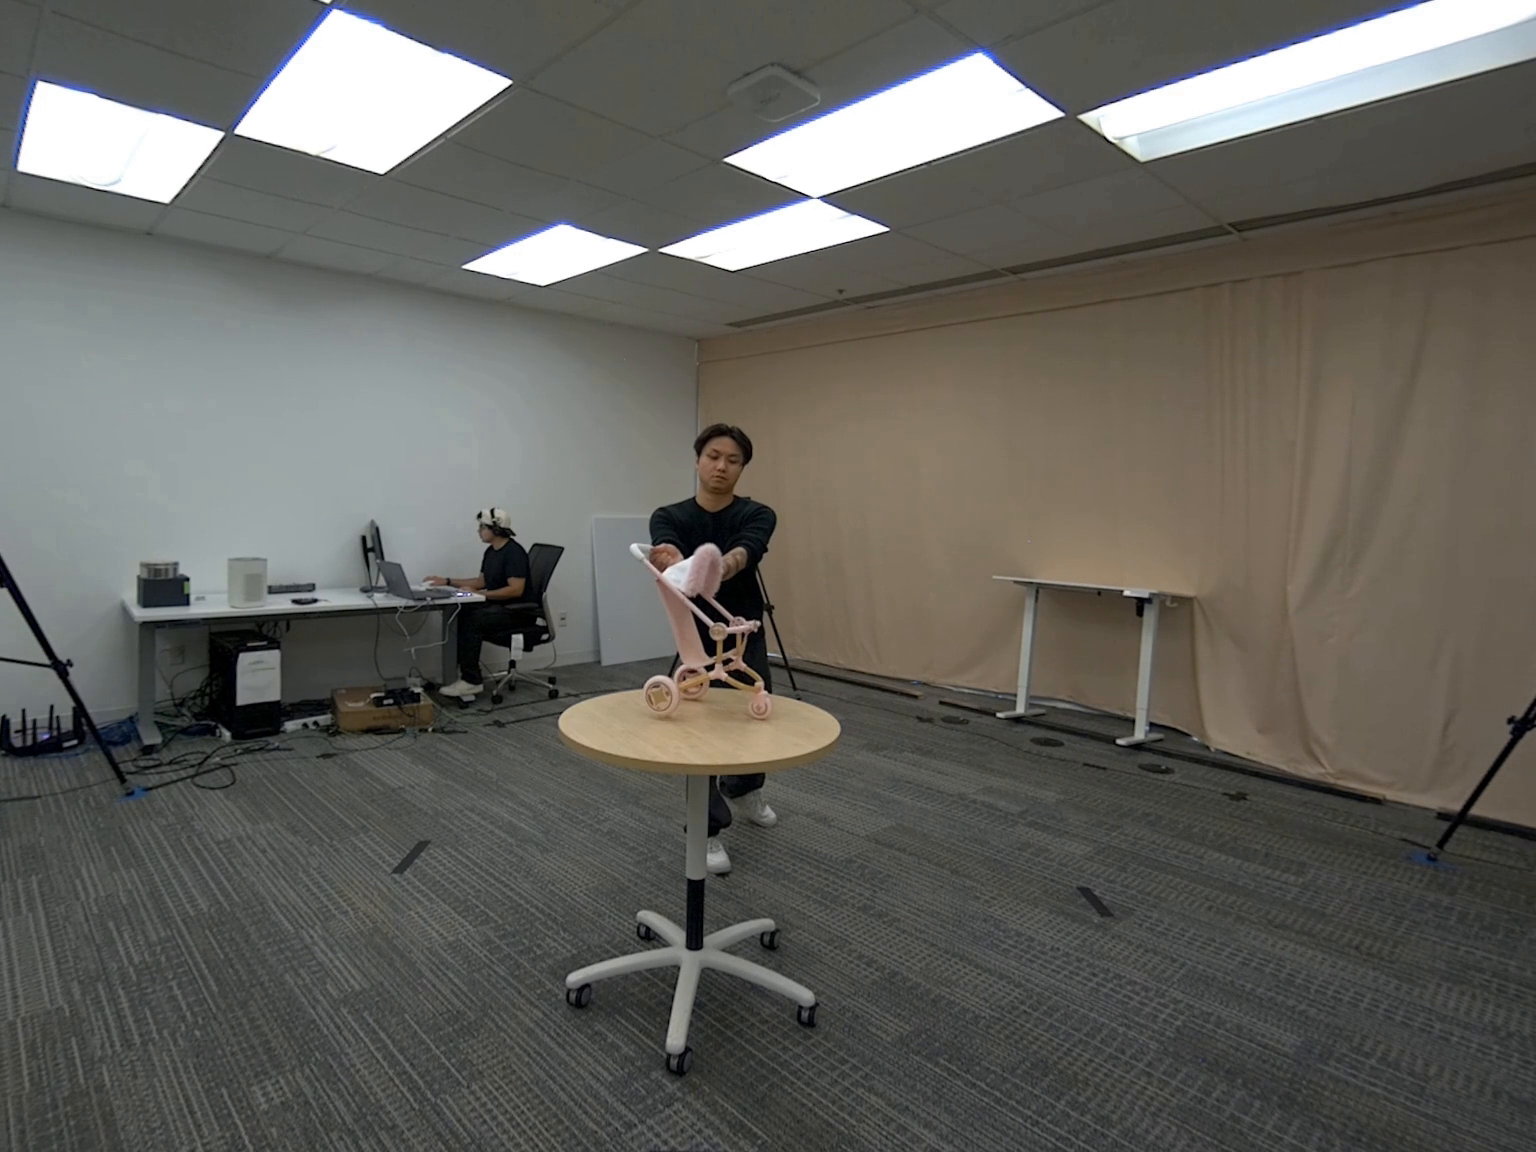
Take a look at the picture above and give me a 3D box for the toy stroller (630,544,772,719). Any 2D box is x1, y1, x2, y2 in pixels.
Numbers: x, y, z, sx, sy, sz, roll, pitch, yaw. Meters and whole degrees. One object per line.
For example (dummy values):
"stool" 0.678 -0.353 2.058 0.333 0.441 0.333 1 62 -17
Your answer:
"toy stroller" -0.185 0.156 2.380 0.346 0.537 0.277 -9 -4 21
